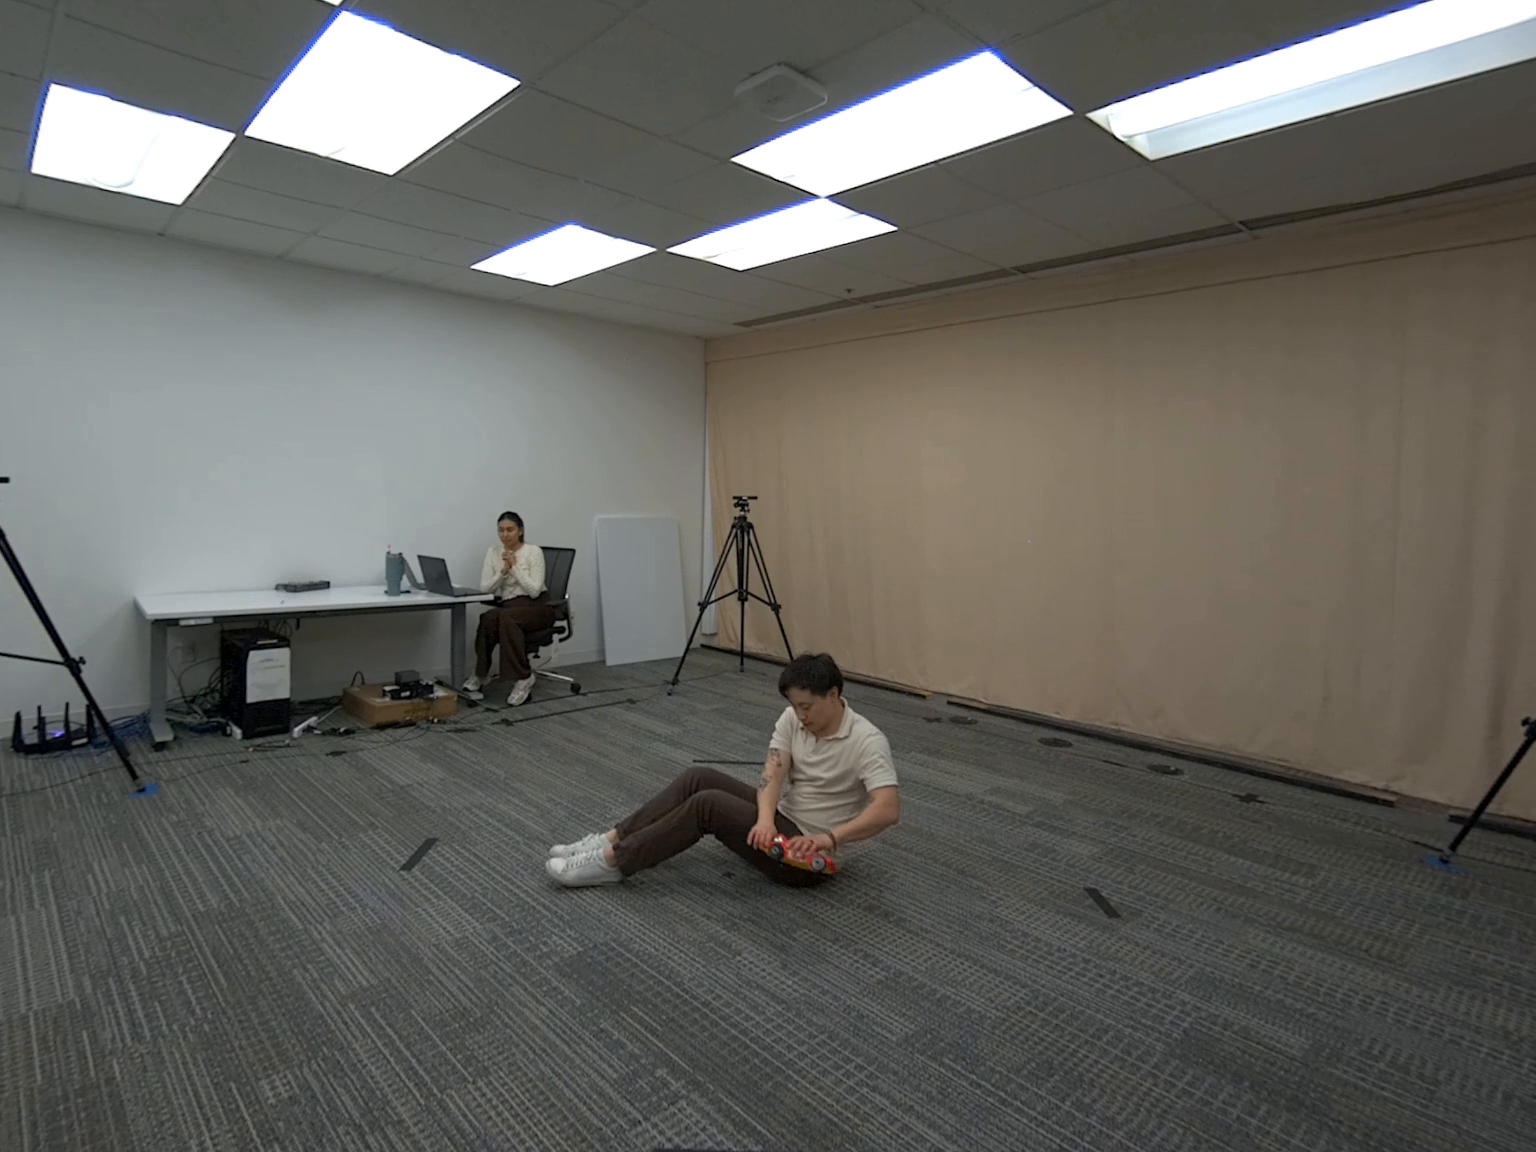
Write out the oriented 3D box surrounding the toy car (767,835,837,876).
[{"bbox_3d":[0.072,0.909,2.732,0.261,0.083,0.126,18,-24,30],"label":"toy car"}]
